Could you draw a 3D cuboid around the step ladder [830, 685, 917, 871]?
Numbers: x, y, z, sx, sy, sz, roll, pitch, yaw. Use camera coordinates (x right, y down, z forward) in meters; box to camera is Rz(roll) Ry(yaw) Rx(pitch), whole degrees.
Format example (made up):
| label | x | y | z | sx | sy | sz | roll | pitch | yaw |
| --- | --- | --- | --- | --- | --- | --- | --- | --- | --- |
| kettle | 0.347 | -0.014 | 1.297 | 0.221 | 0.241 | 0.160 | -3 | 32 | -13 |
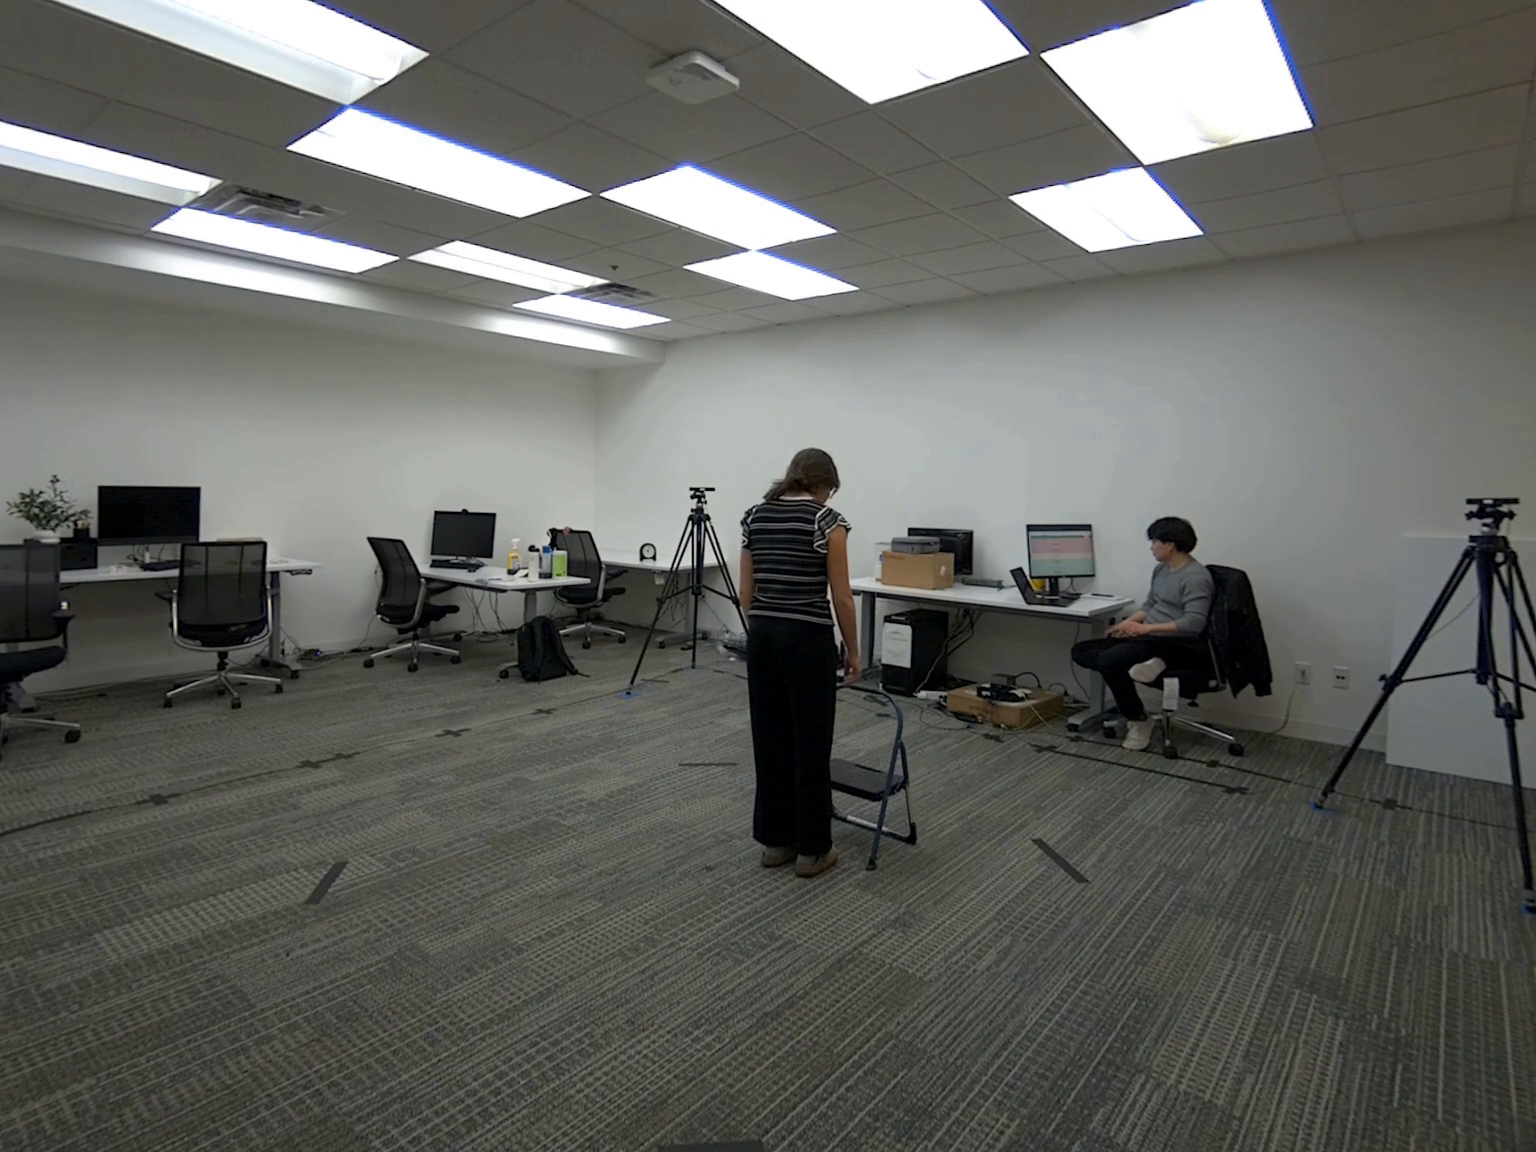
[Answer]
| label | x | y | z | sx | sy | sz | roll | pitch | yaw |
| --- | --- | --- | --- | --- | --- | --- | --- | --- | --- |
| step ladder | 0.331 | 0.752 | 3.379 | 0.445 | 0.604 | 0.339 | 5 | 5 | 40 |
